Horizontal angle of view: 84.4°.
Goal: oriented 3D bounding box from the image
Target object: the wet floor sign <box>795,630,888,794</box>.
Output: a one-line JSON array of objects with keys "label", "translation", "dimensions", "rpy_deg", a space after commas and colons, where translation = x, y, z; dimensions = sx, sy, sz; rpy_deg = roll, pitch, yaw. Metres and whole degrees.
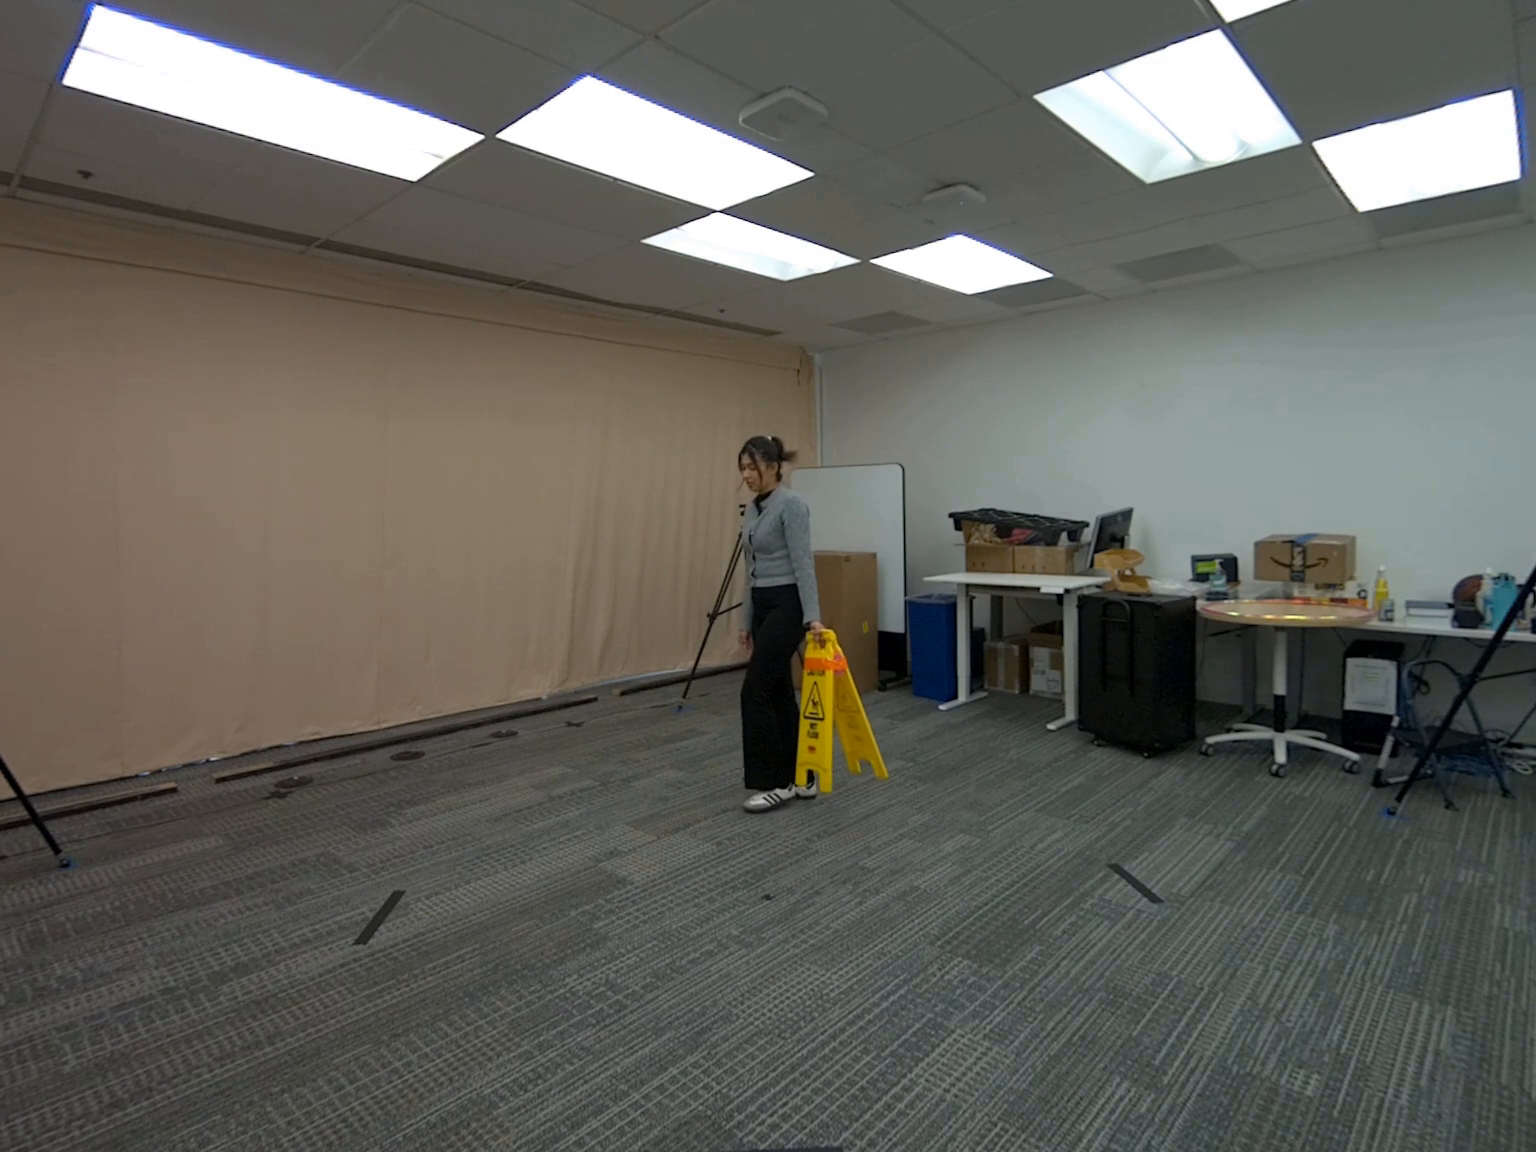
[{"label": "wet floor sign", "translation": [0.265, 0.552, 3.590], "dimensions": [0.283, 0.648, 0.288], "rpy_deg": [-7, -4, -27]}]
